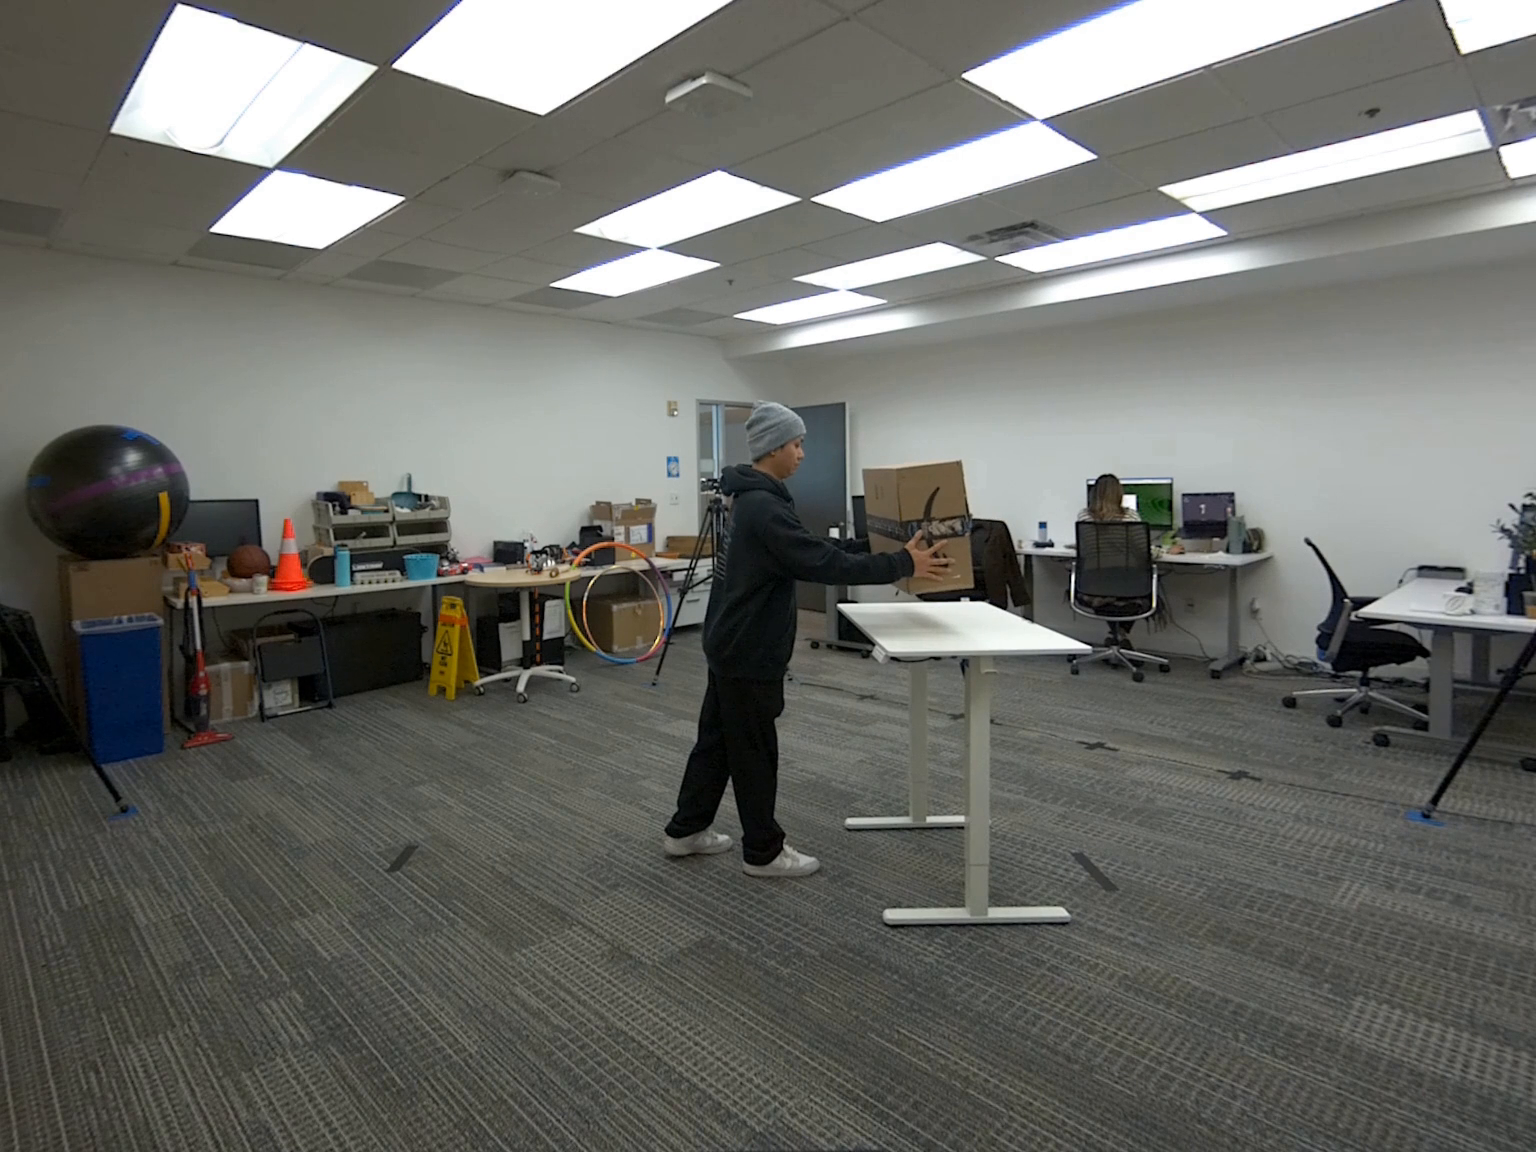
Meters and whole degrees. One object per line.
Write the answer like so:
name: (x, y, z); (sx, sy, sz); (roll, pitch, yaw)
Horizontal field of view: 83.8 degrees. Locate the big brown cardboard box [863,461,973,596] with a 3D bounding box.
big brown cardboard box: (0.518, -0.188, 3.015); (0.232, 0.415, 0.594); (-7, 7, -4)
